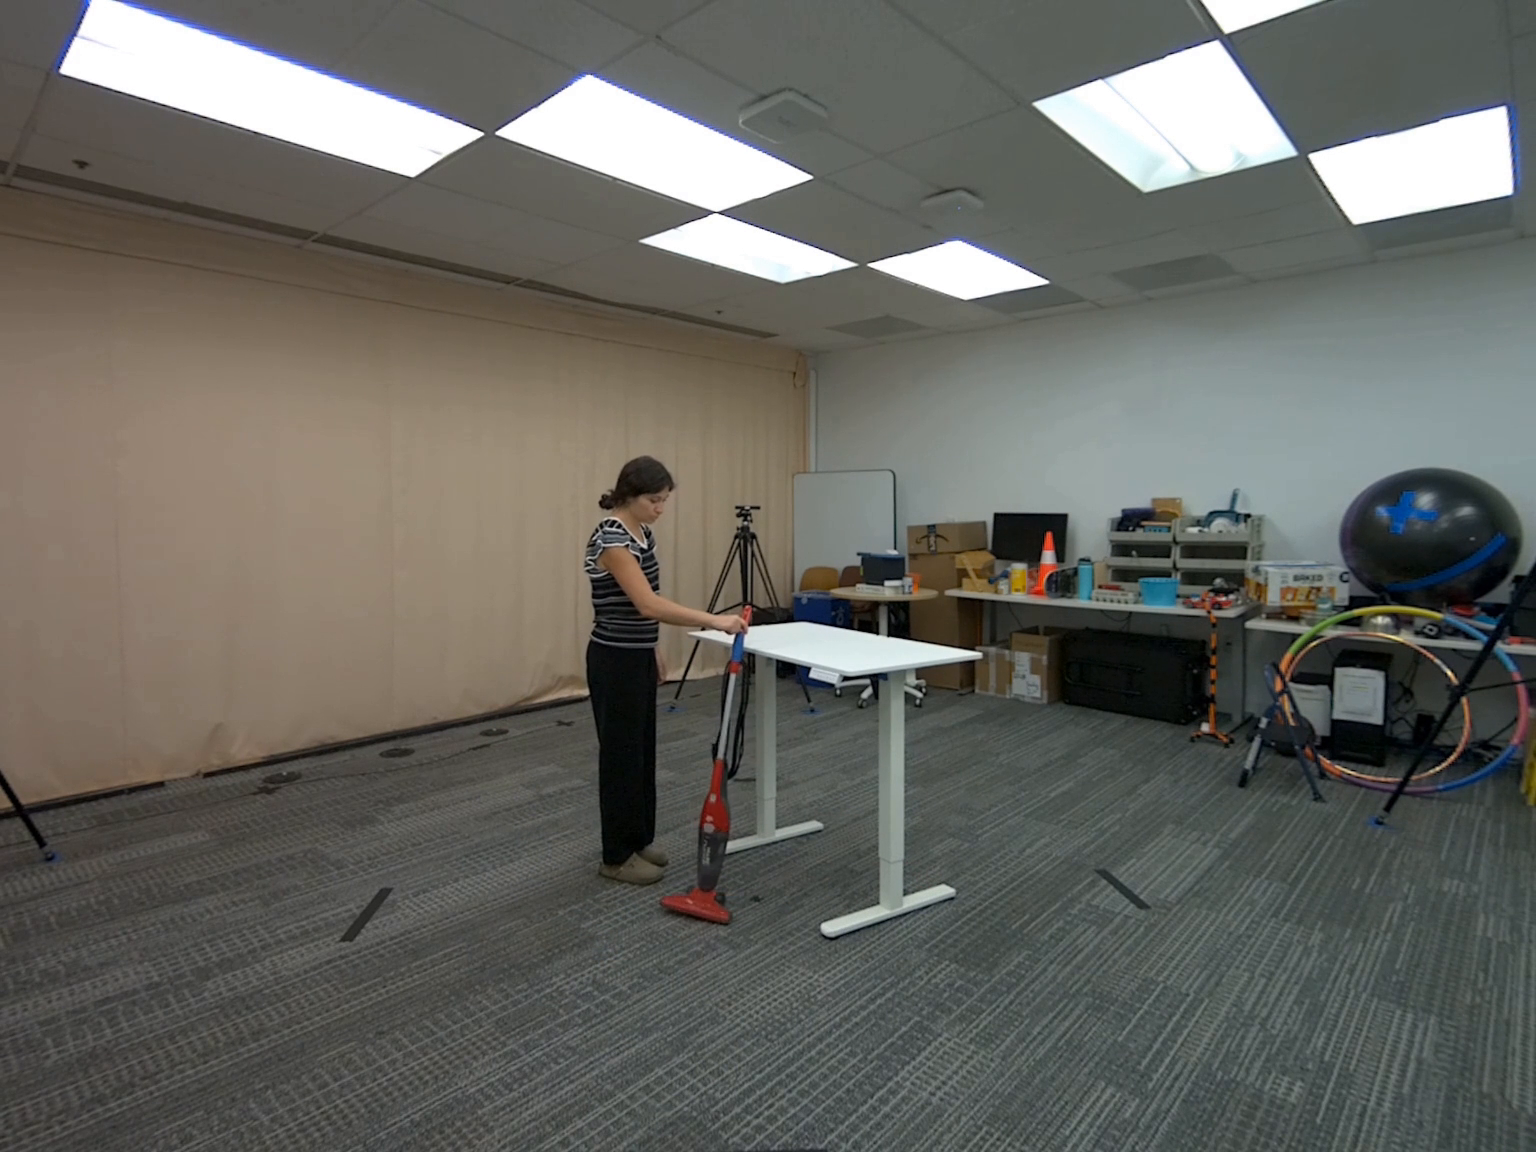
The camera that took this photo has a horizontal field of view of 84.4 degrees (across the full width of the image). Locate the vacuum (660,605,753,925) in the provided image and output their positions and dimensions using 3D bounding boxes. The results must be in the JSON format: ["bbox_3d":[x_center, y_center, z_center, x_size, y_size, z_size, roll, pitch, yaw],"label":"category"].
[{"bbox_3d":[-0.152,0.635,2.960,0.257,1.052,0.141,7,-7,17],"label":"vacuum"}]
